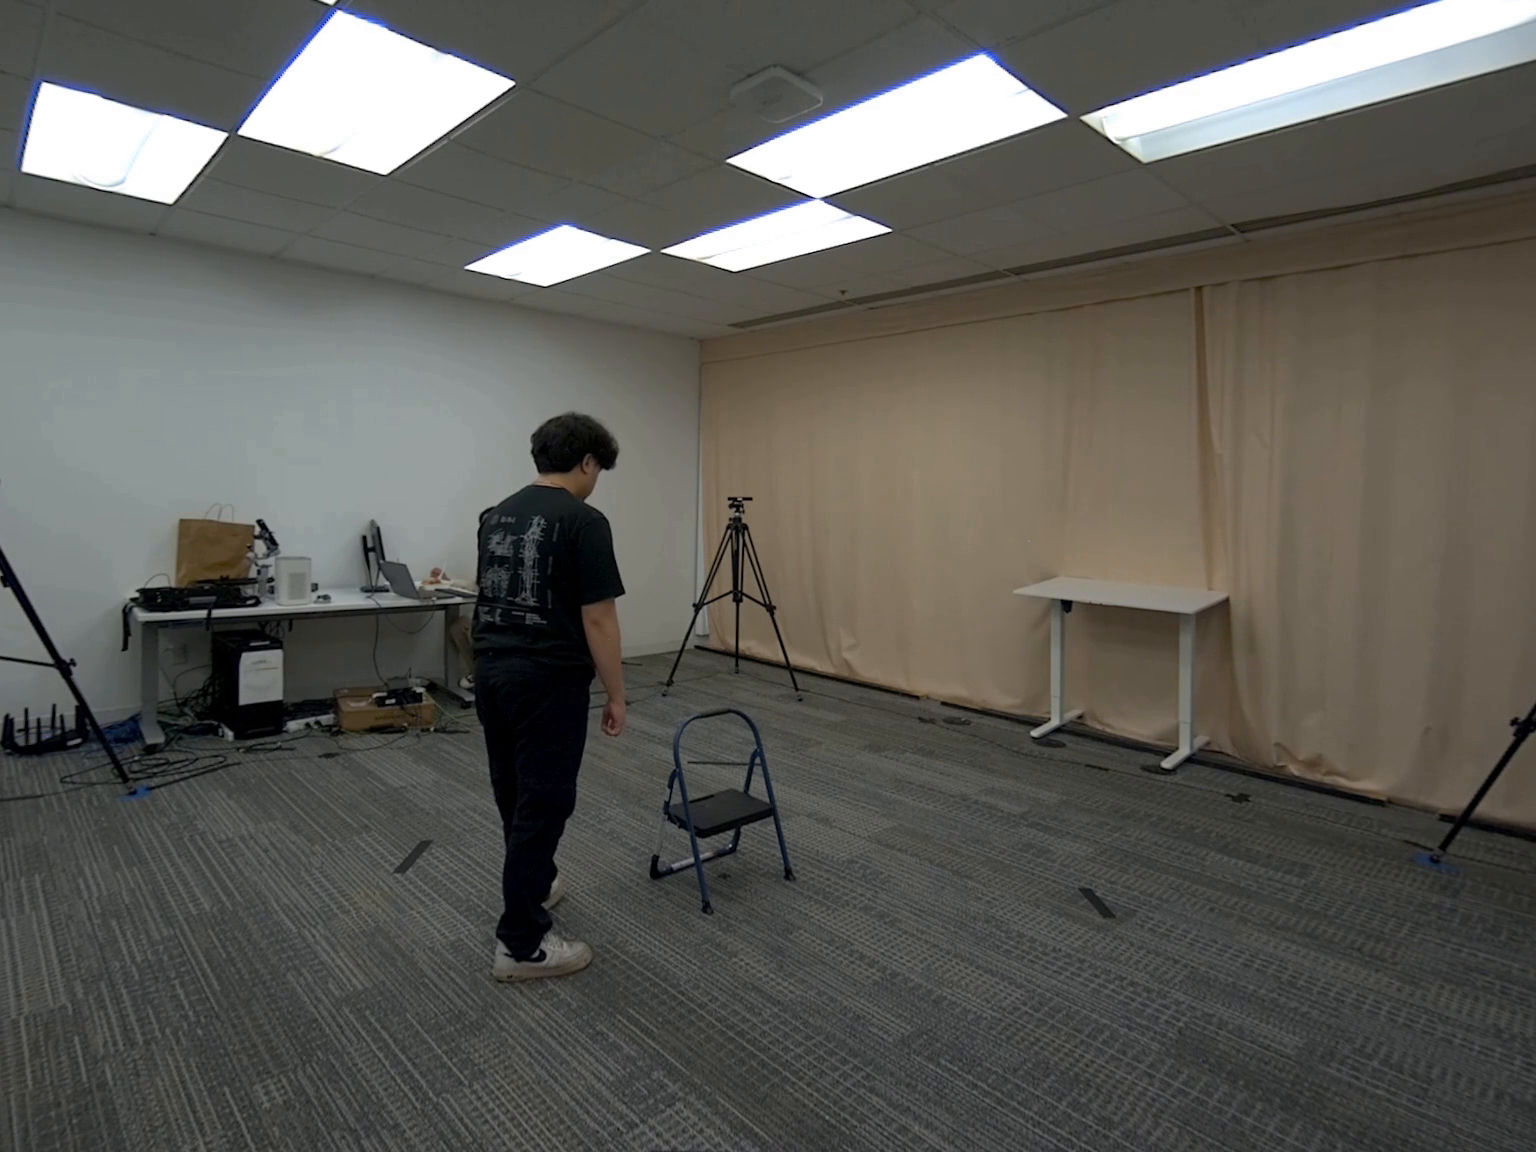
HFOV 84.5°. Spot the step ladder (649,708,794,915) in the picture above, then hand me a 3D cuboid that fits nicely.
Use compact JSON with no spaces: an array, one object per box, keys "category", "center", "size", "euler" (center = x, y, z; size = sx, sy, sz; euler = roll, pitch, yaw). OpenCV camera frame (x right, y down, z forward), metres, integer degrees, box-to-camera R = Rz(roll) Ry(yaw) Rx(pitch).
[{"category":"step ladder","center":[-0.166,0.806,3.064],"size":[0.421,0.604,0.358],"euler":[-2,5,-44]}]
